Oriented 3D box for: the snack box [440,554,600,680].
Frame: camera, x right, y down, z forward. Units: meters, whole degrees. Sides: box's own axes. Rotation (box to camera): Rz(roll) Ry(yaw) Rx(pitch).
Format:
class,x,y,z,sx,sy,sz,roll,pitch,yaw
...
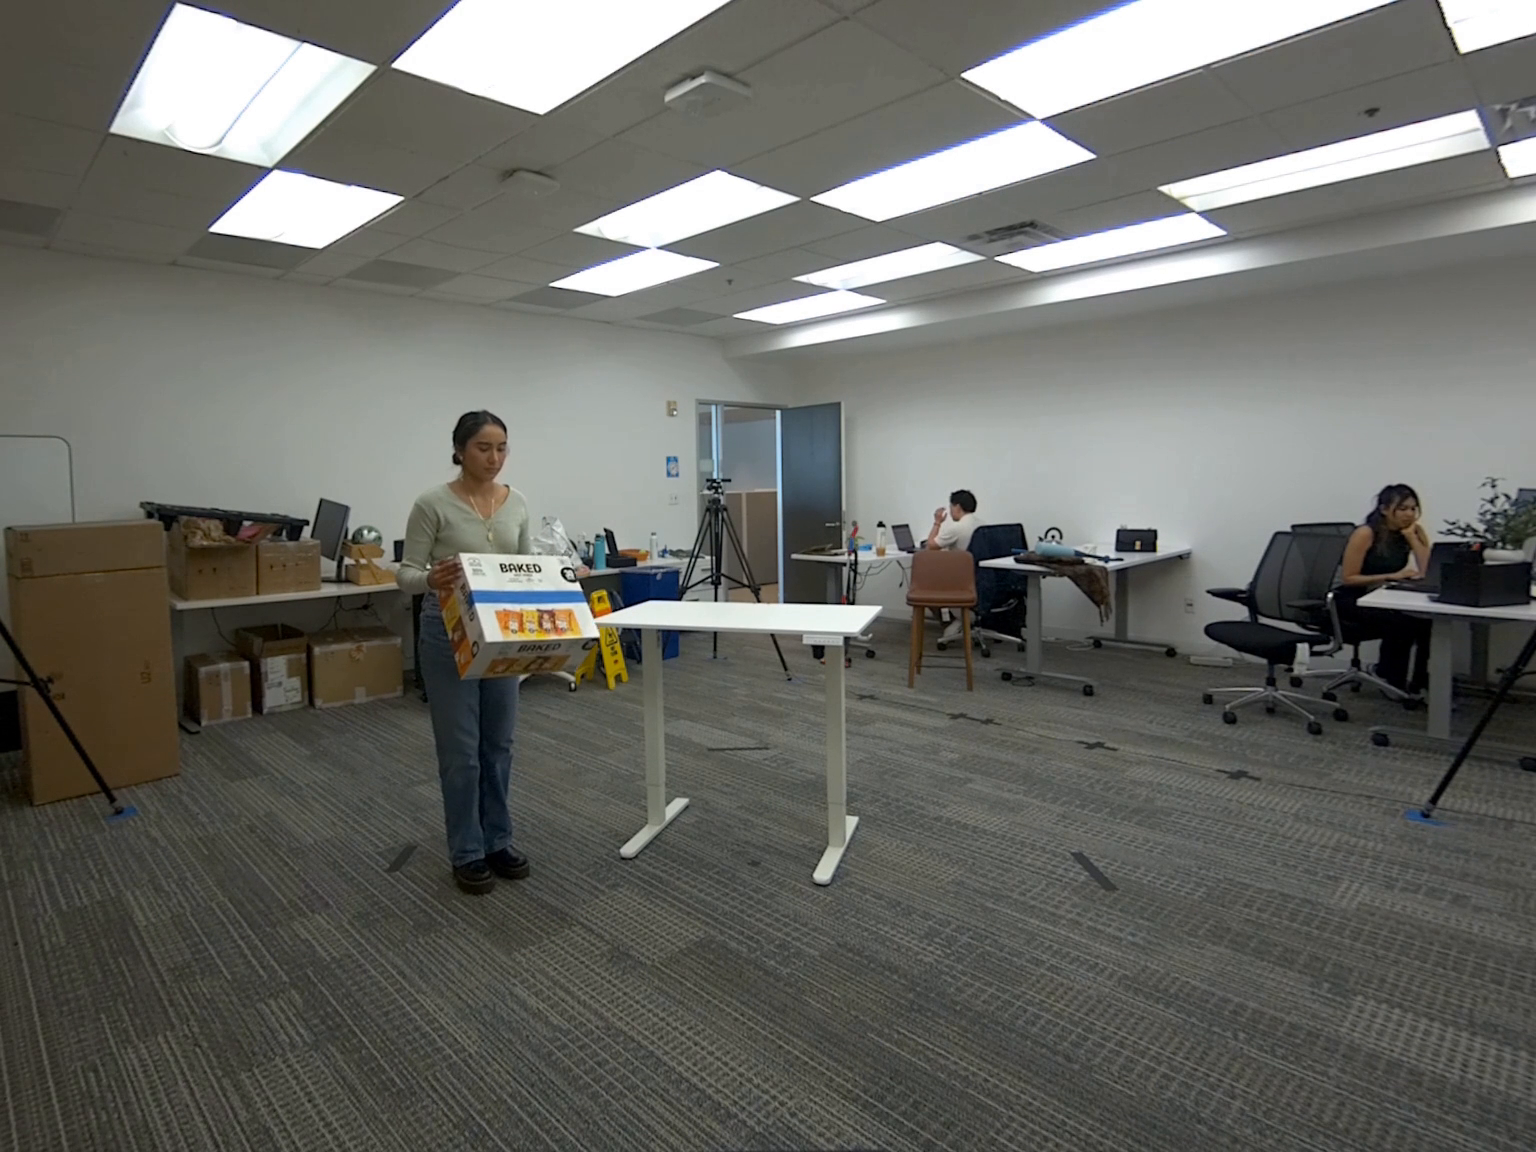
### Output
class,x,y,z,sx,sy,sz,roll,pitch,yaw
snack box,-0.812,0.126,2.773,0.393,0.352,0.205,2,-41,-42
